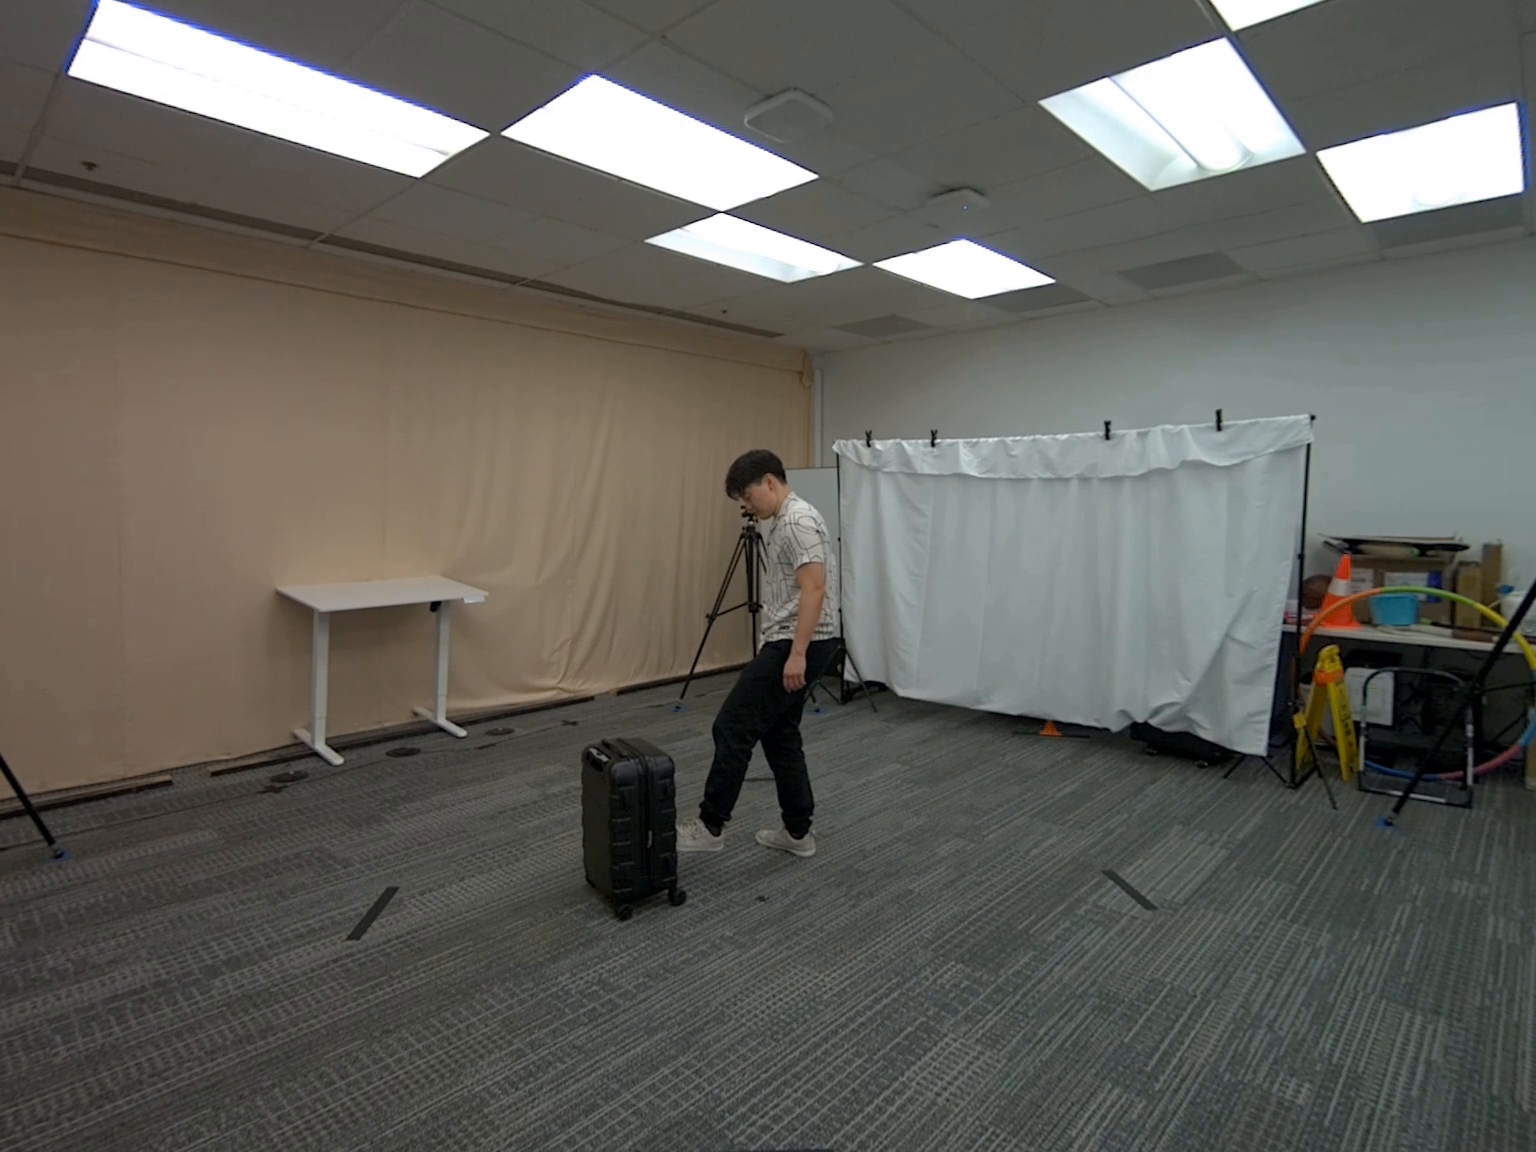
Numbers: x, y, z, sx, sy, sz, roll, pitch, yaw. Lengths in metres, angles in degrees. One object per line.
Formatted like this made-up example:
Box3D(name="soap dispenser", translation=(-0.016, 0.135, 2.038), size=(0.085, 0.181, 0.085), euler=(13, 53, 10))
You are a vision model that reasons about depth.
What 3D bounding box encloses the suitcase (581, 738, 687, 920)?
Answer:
Box3D(name="suitcase", translation=(-0.498, 0.867, 3.003), size=(0.242, 0.548, 0.386), euler=(-2, 4, -31))
